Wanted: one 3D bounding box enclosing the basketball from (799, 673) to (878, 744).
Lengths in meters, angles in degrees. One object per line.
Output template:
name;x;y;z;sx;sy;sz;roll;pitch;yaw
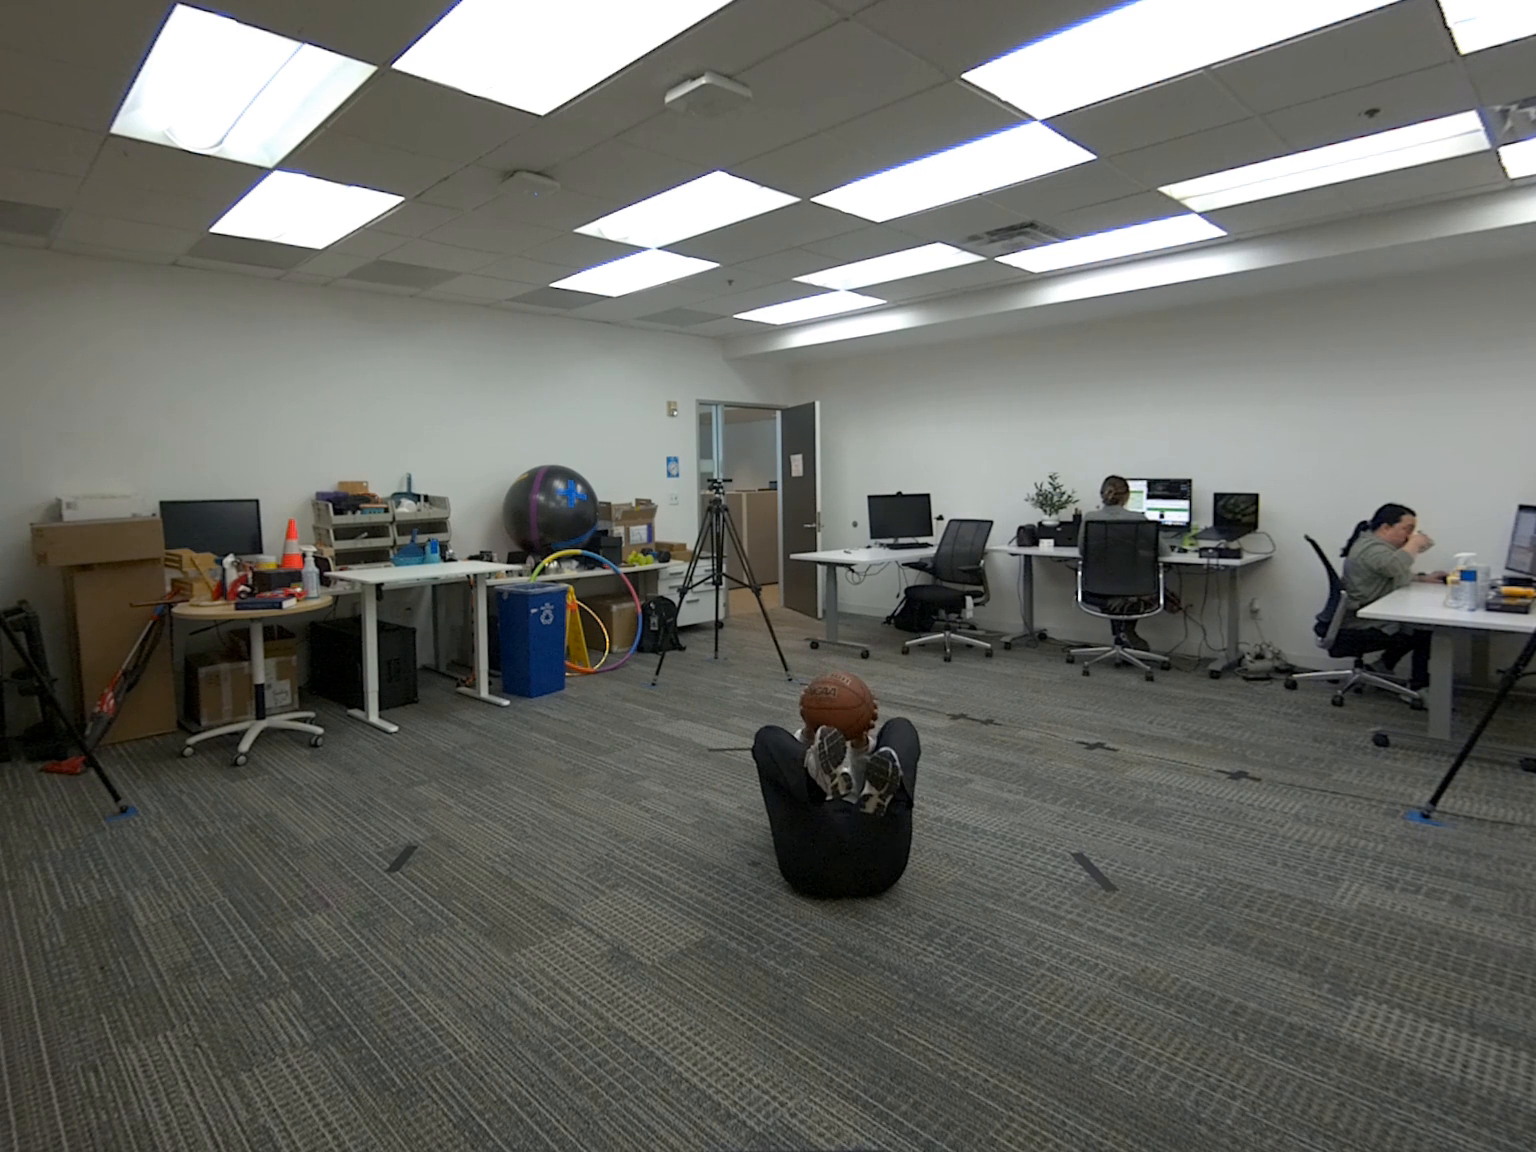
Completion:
basketball;0.244;0.436;2.912;0.236;0.235;0.237;-1;5;-2
